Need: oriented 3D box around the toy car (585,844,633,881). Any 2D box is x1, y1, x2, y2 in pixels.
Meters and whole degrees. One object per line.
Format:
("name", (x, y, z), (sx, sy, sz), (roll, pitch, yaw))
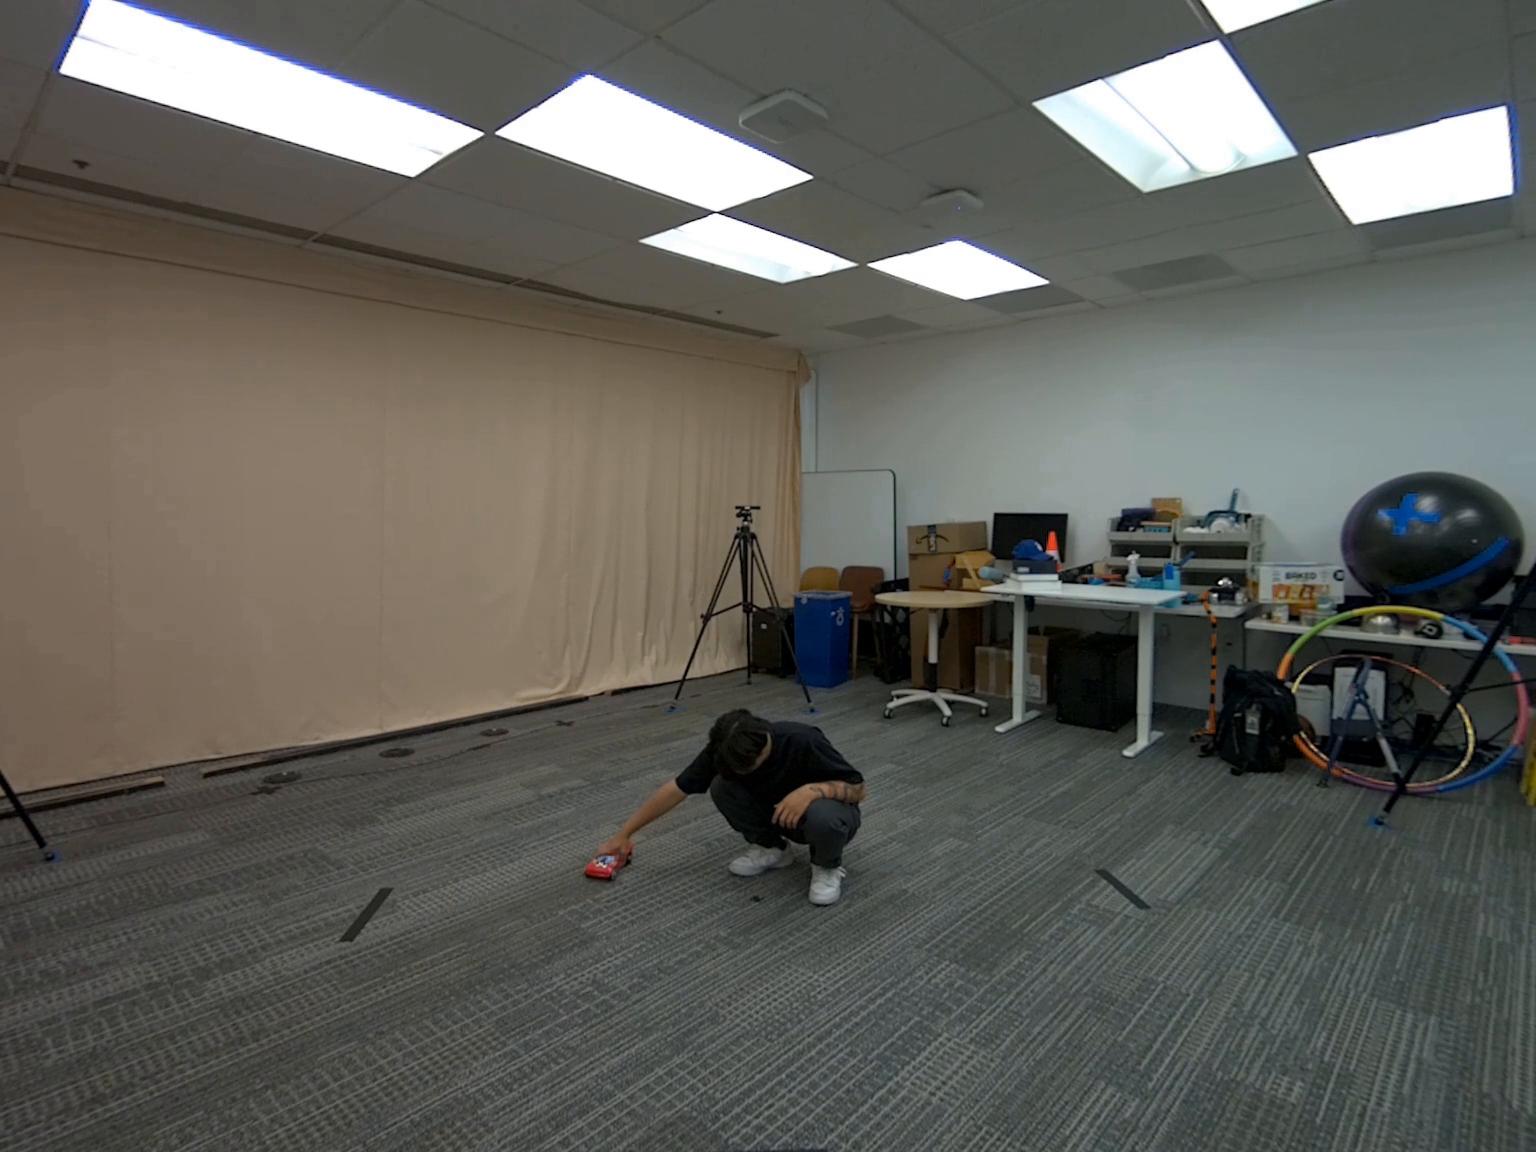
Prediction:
("toy car", (-0.605, 1.099, 3.255), (0.133, 0.082, 0.252), (0, 15, 16))
